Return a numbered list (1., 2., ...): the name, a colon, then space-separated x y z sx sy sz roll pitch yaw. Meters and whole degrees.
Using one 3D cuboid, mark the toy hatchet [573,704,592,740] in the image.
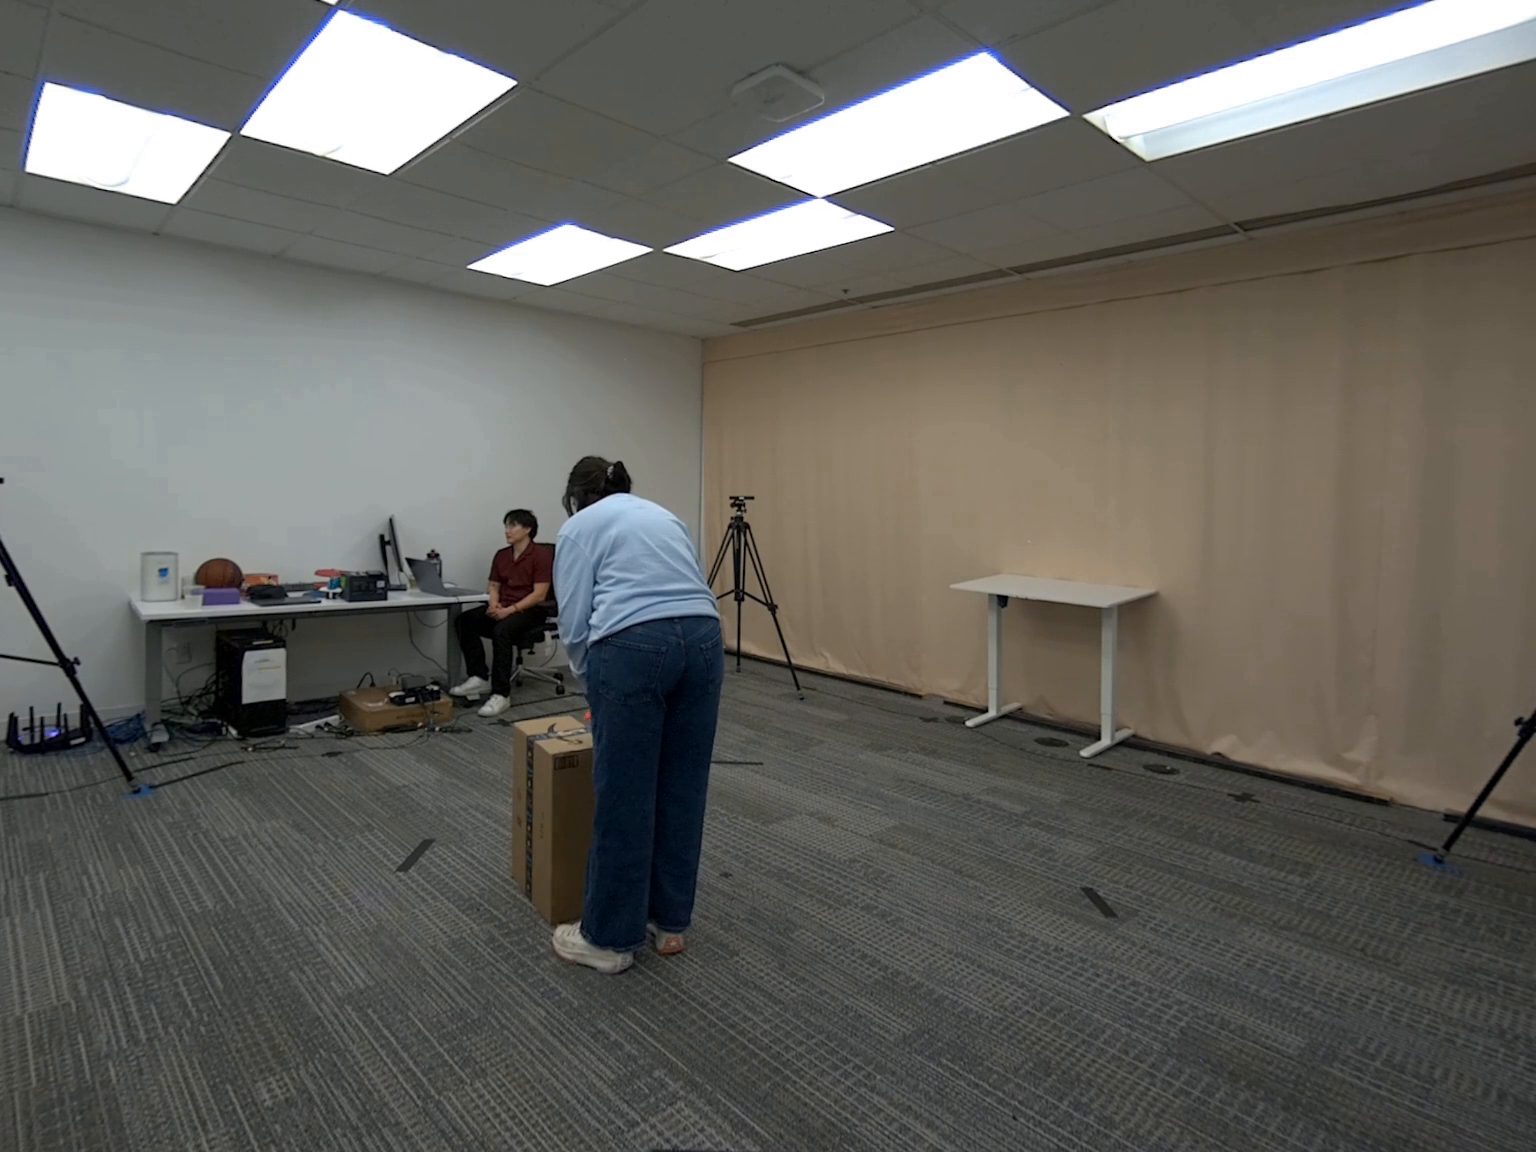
1. toy hatchet: -0.566 0.451 2.763 0.130 0.029 0.273 -34 11 -12
